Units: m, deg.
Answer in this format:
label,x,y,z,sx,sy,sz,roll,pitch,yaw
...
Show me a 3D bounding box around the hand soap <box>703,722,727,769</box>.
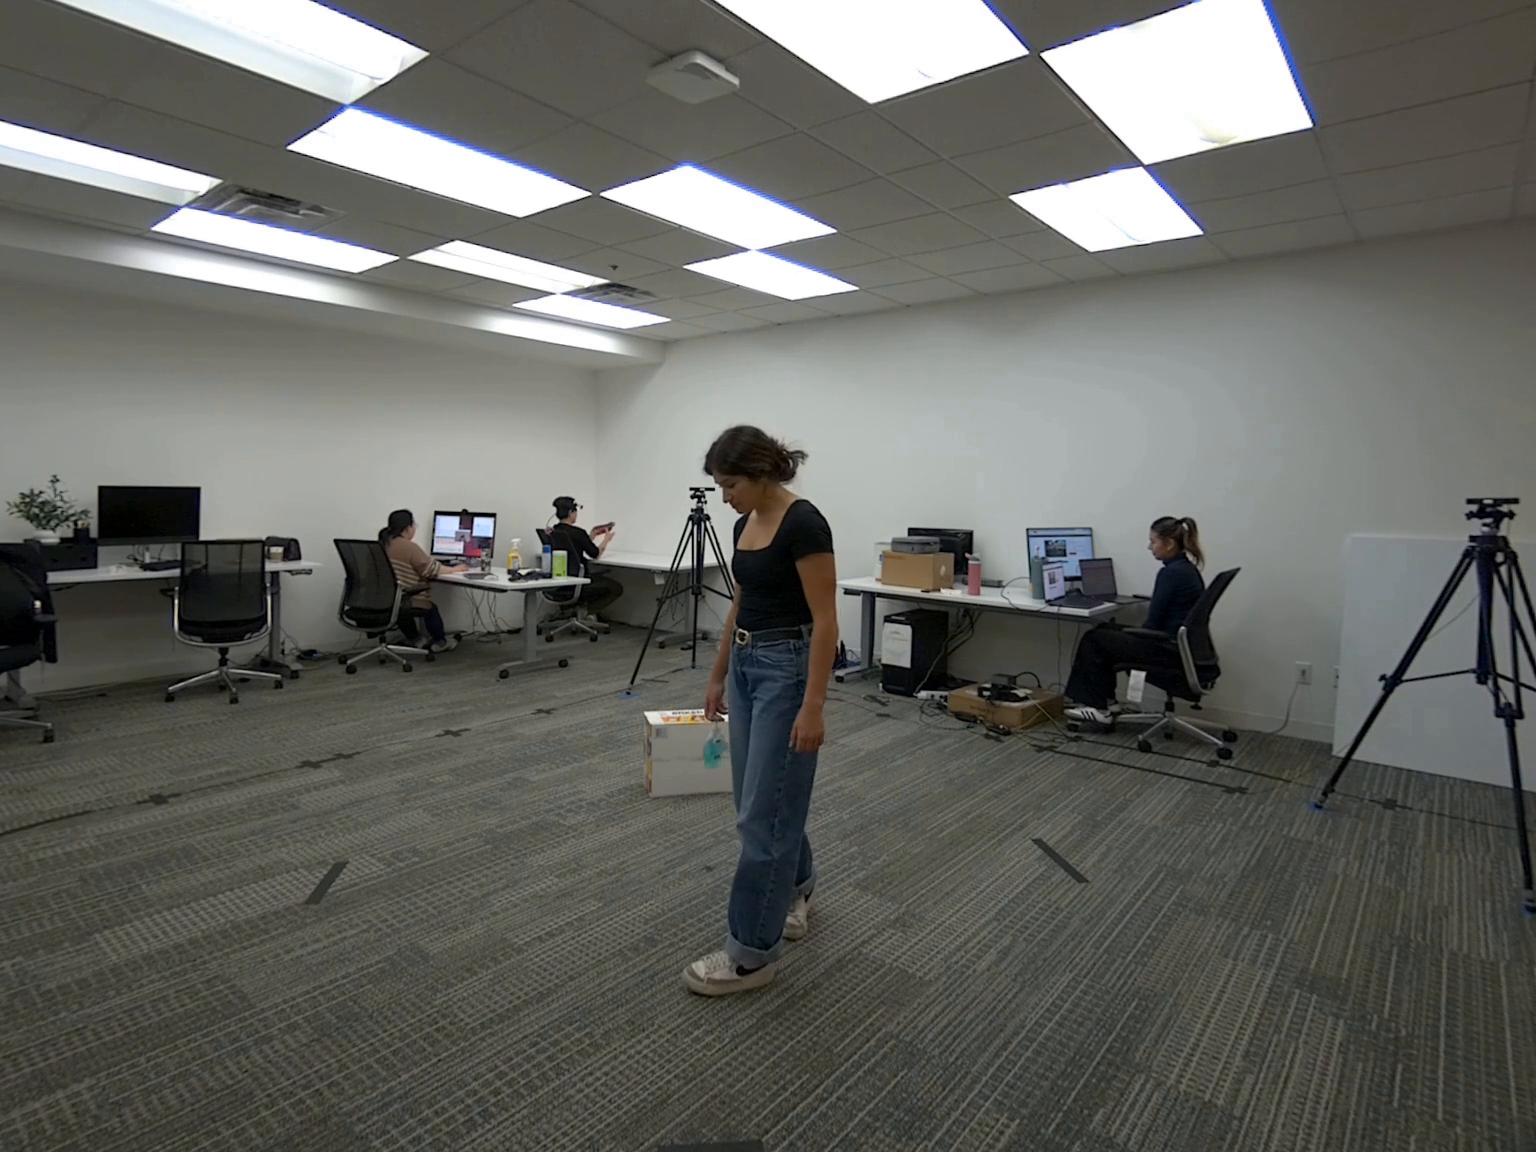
label,x,y,z,sx,sy,sz,roll,pitch,yaw
hand soap,-0.171,0.523,2.695,0.082,0.167,0.045,0,9,-45
